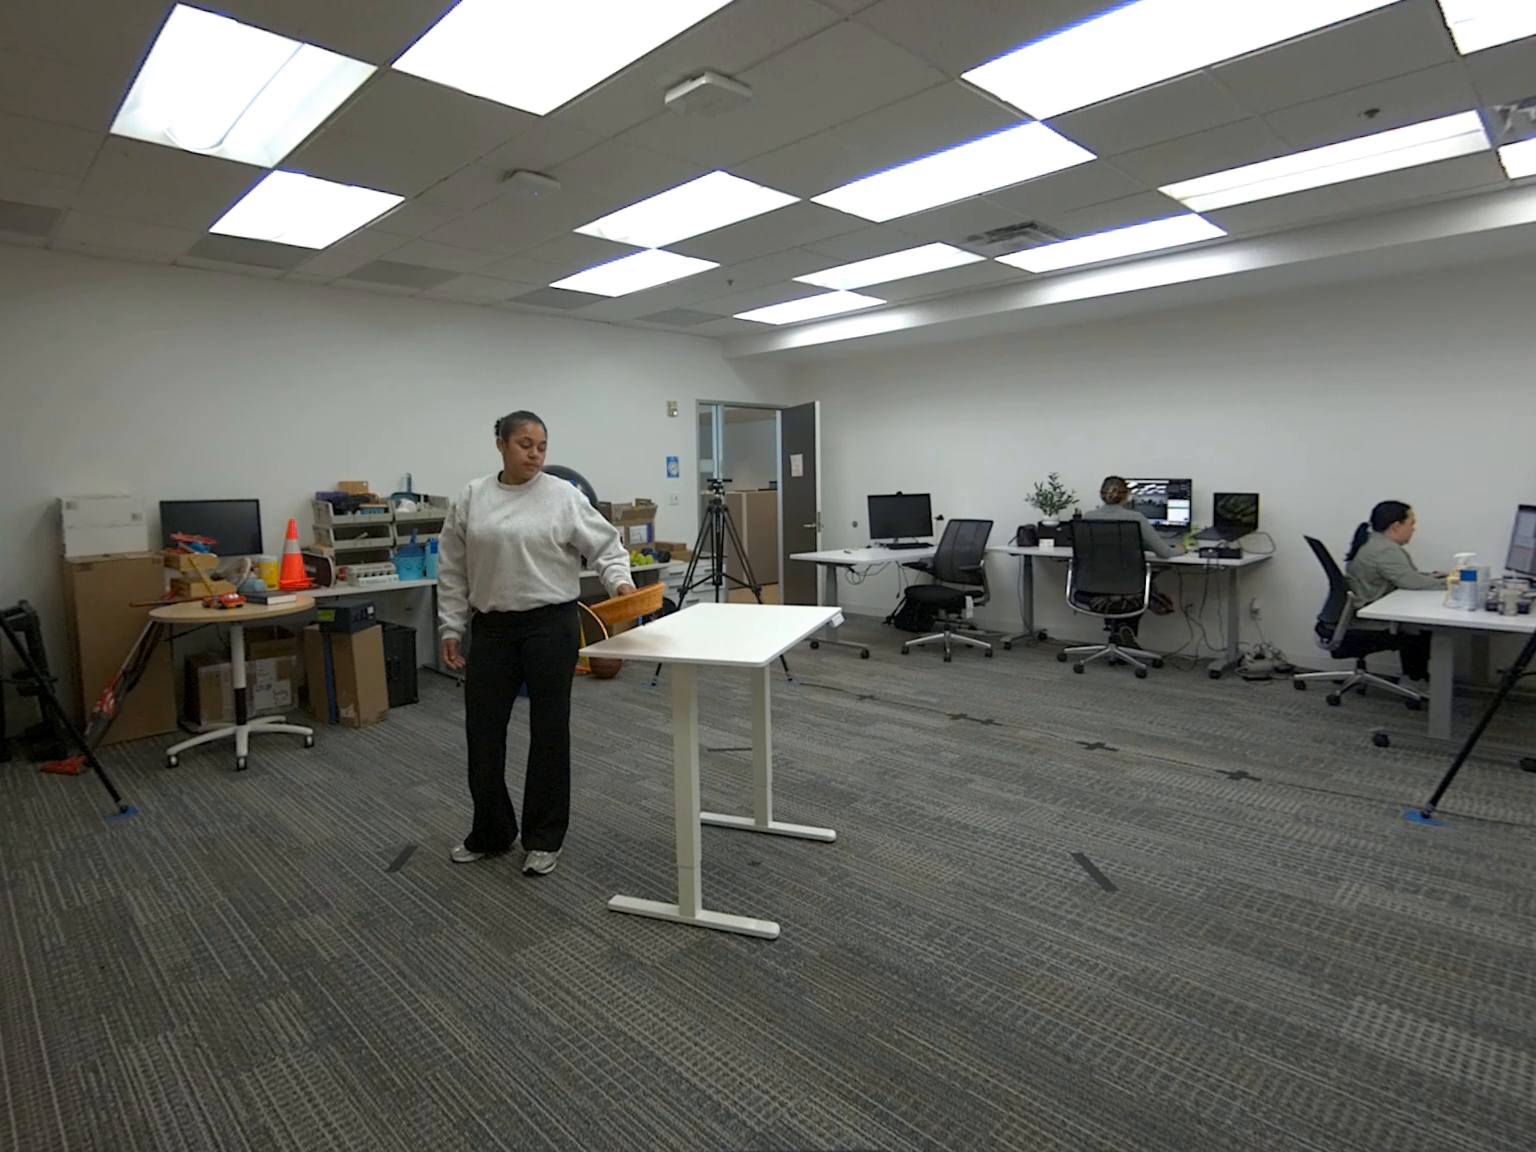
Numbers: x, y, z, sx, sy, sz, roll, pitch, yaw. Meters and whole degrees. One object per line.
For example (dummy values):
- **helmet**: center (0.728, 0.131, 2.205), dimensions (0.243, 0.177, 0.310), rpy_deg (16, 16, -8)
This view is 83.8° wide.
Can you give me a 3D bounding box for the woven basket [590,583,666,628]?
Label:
- **woven basket**: center (-0.482, 0.107, 2.717), dimensions (0.252, 0.073, 0.350), rpy_deg (-16, 2, 0)
